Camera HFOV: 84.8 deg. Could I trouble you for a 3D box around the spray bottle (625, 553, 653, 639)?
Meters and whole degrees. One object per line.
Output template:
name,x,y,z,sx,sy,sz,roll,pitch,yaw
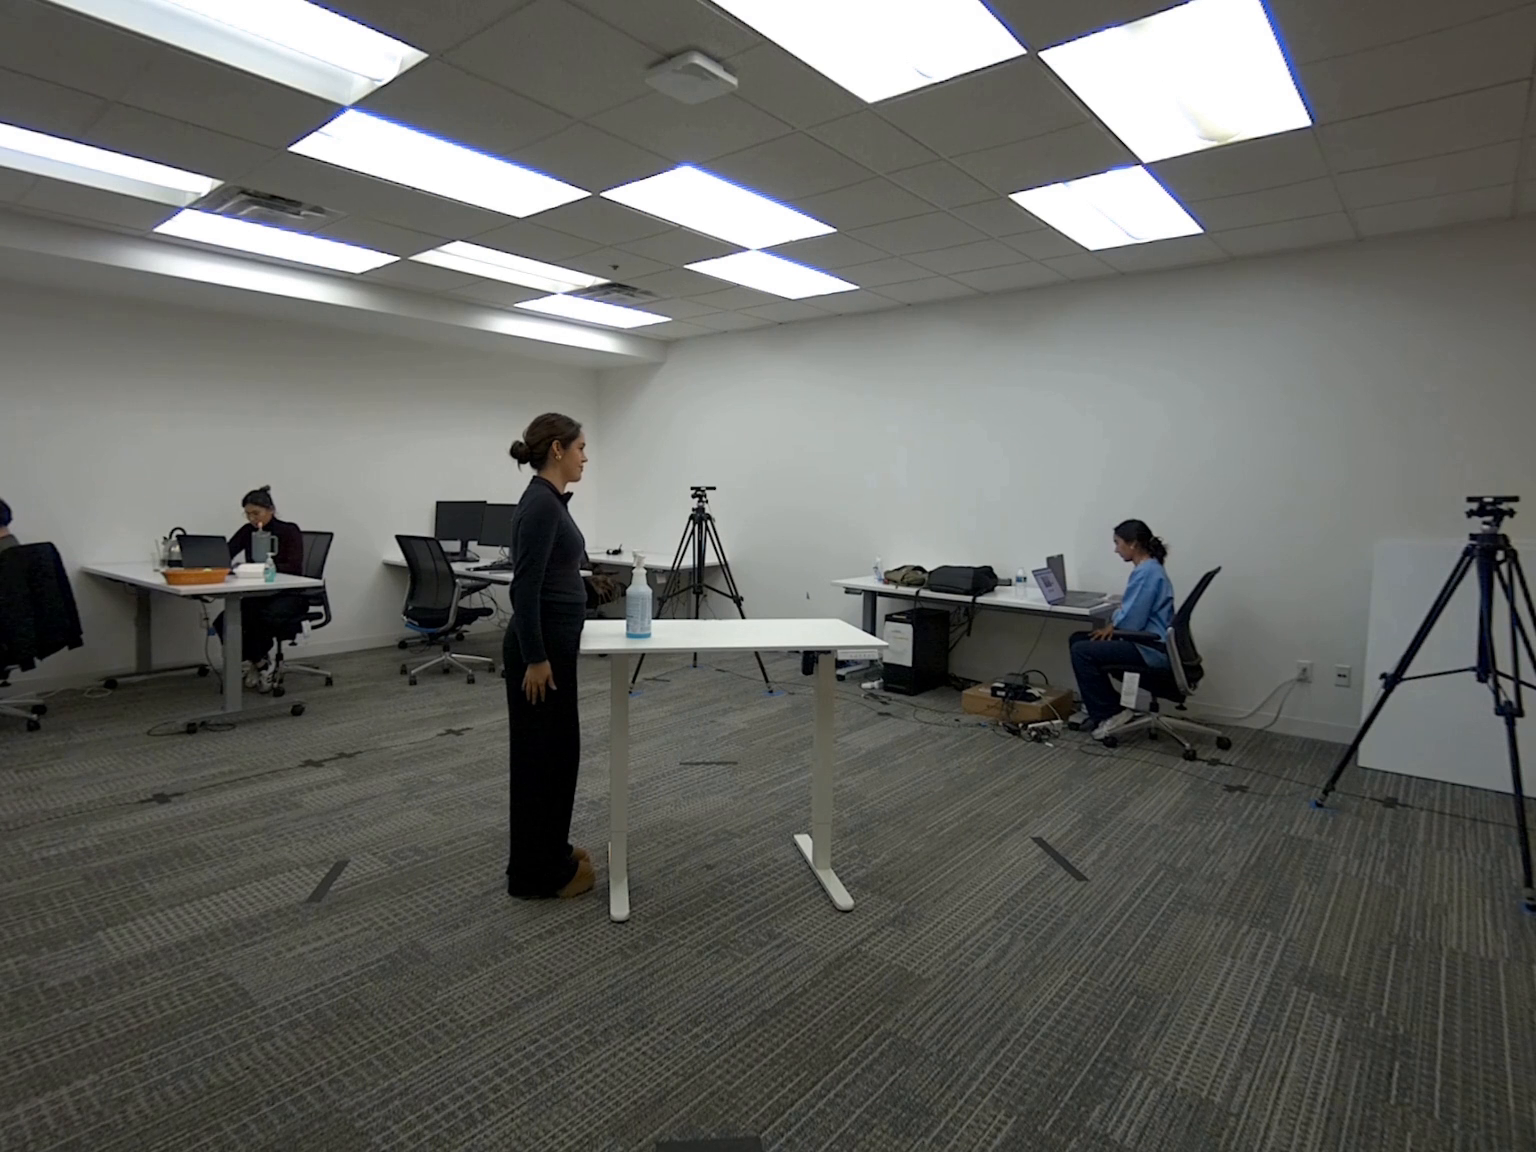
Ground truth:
spray bottle,-0.458,0.060,2.875,0.090,0.296,0.087,3,4,40
